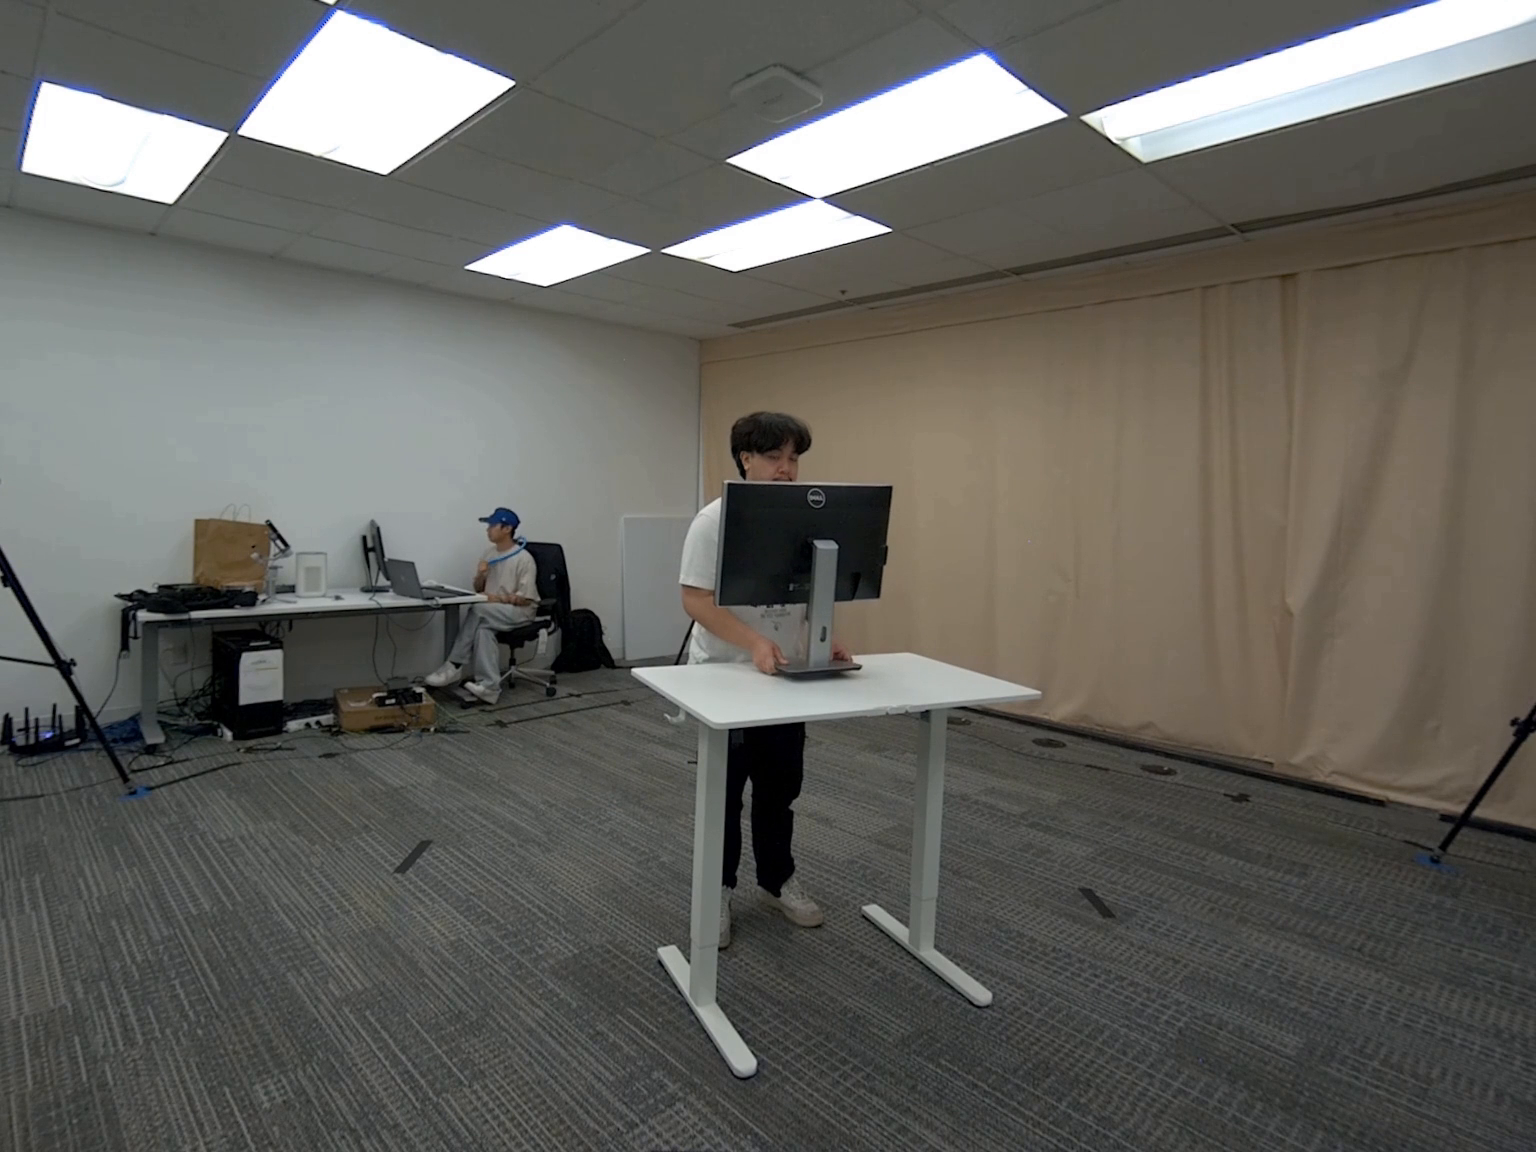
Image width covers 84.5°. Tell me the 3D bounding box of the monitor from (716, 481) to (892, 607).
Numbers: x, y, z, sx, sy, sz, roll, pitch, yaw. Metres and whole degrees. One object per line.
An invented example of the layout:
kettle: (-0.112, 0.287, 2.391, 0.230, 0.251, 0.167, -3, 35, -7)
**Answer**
monitor: (0.131, 0.002, 2.435, 0.555, 0.552, 0.215, 0, 7, -27)
